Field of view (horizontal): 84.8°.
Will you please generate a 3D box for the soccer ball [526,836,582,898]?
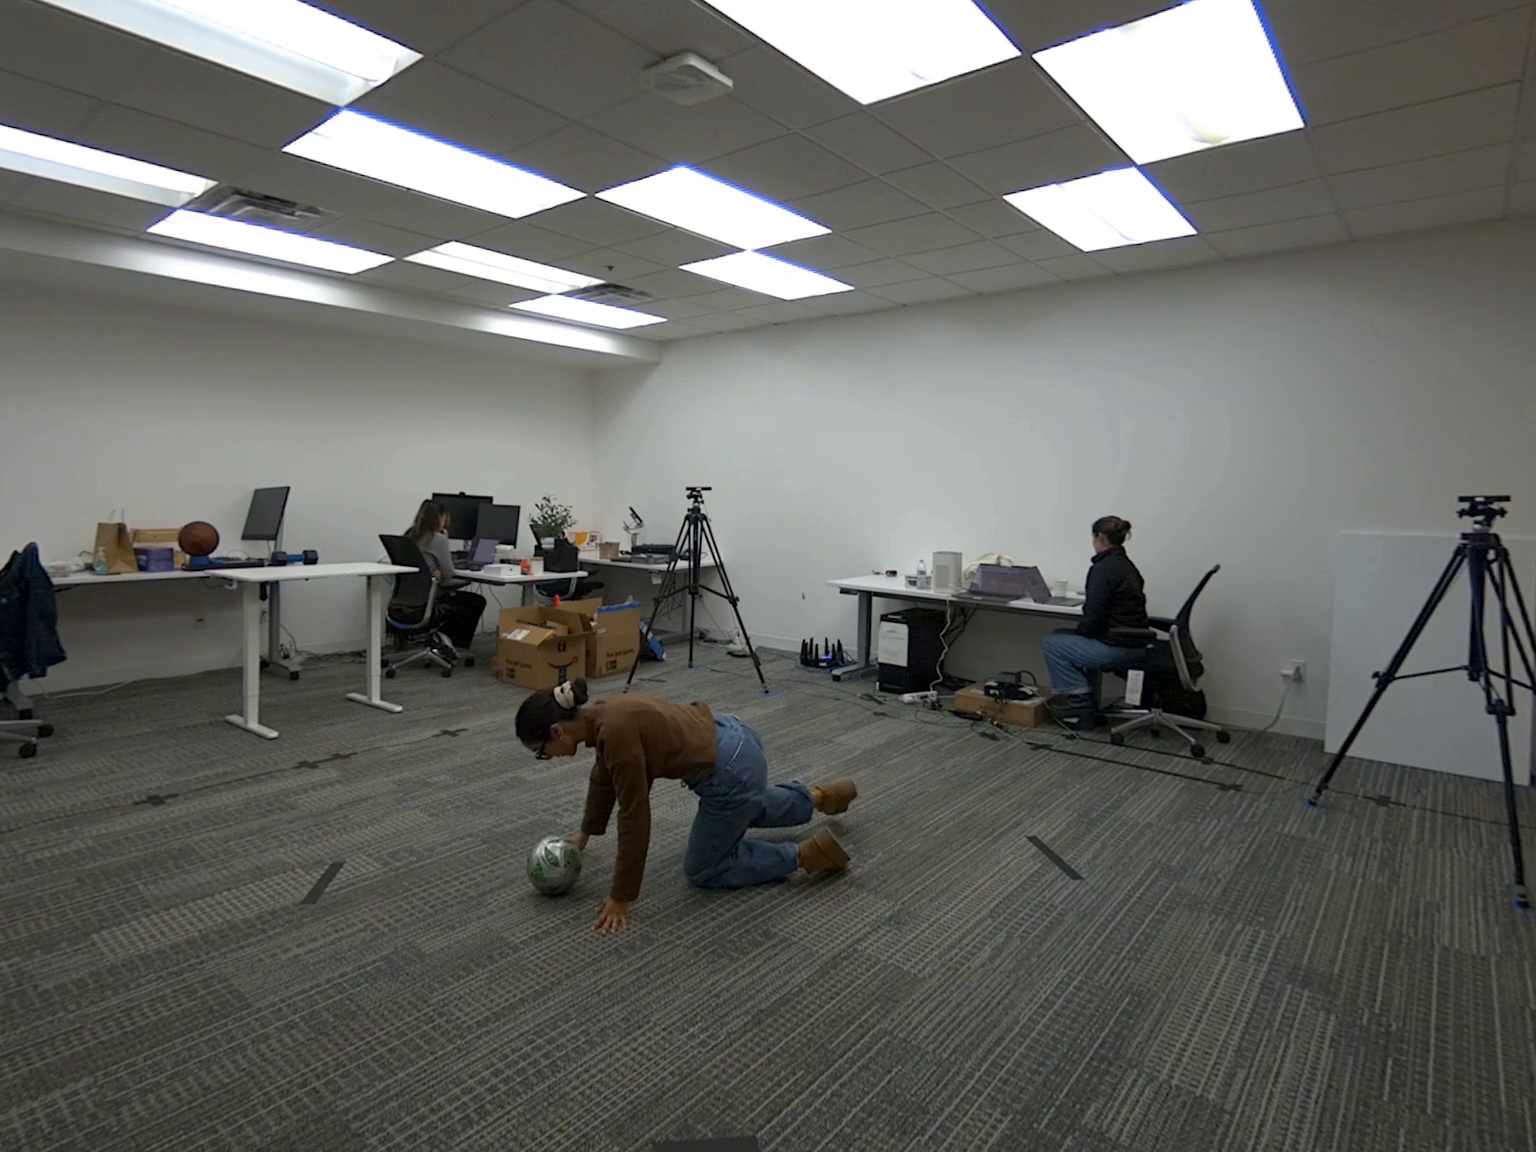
[{"bbox_3d":[-0.744,0.990,2.913,0.187,0.187,0.188,1,4,-2],"label":"soccer ball"}]
